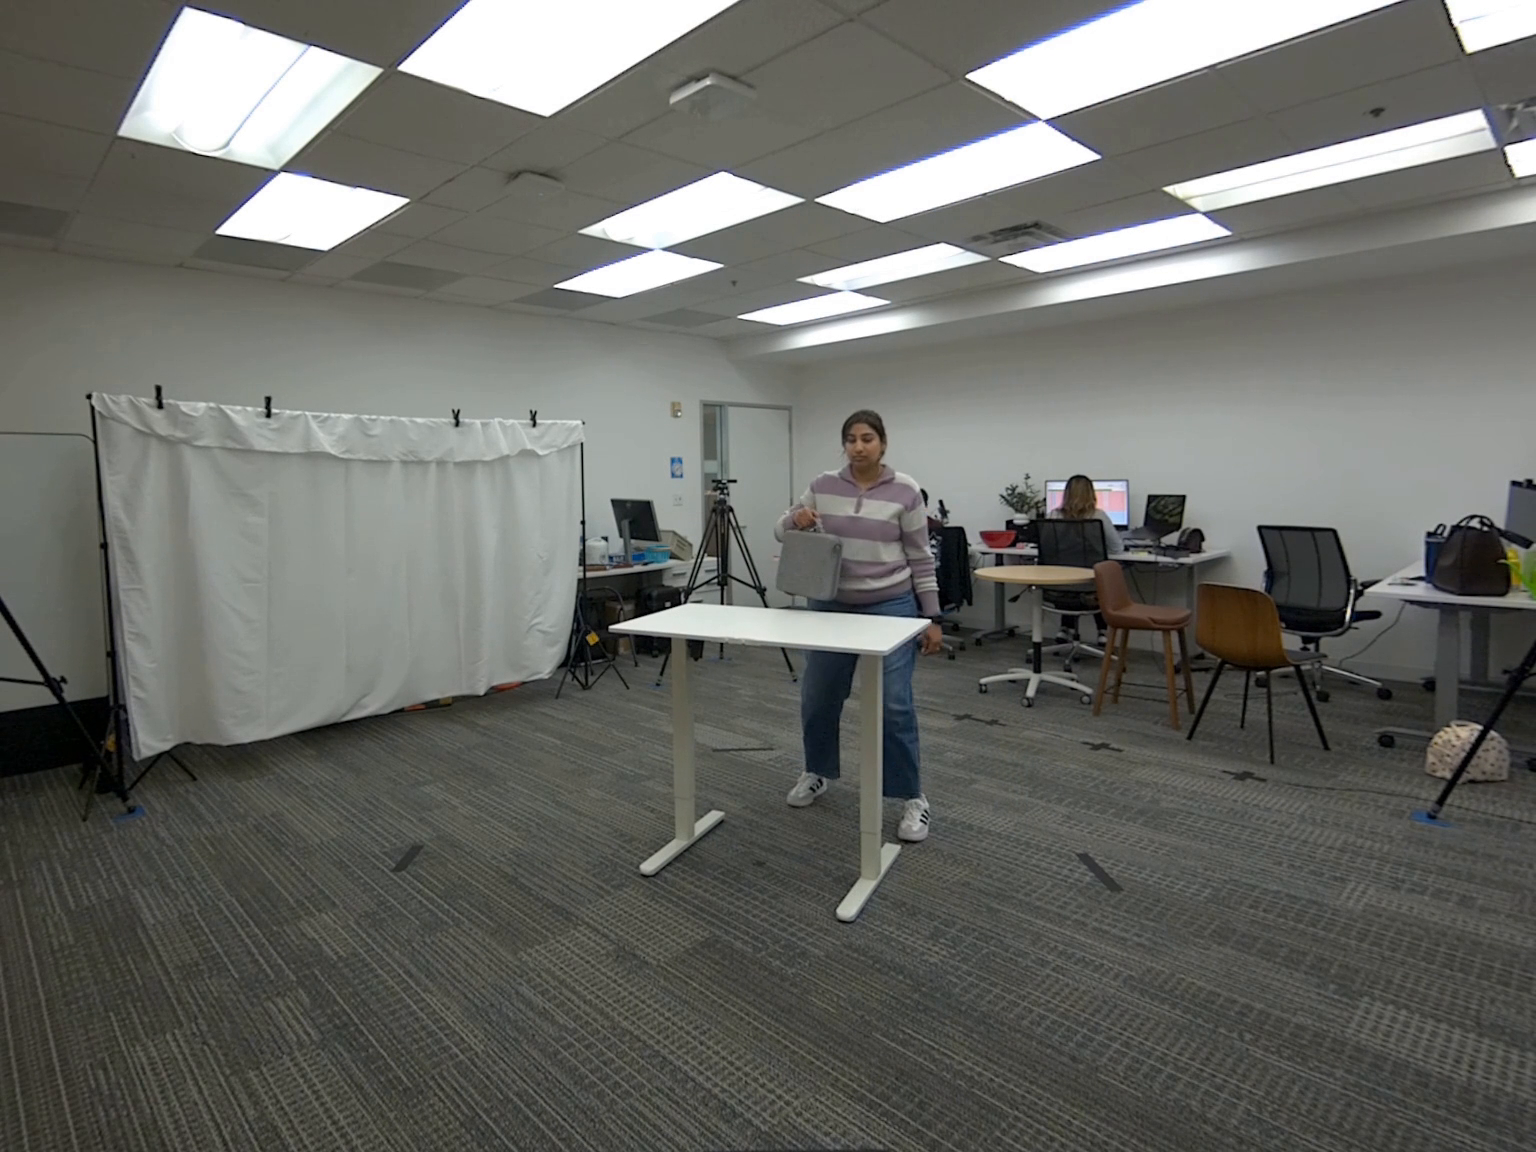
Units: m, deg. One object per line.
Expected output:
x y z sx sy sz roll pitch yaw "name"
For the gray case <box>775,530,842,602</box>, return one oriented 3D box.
0.173 -0.048 3.349 0.101 0.260 0.265 8 1 -43 "gray case"
